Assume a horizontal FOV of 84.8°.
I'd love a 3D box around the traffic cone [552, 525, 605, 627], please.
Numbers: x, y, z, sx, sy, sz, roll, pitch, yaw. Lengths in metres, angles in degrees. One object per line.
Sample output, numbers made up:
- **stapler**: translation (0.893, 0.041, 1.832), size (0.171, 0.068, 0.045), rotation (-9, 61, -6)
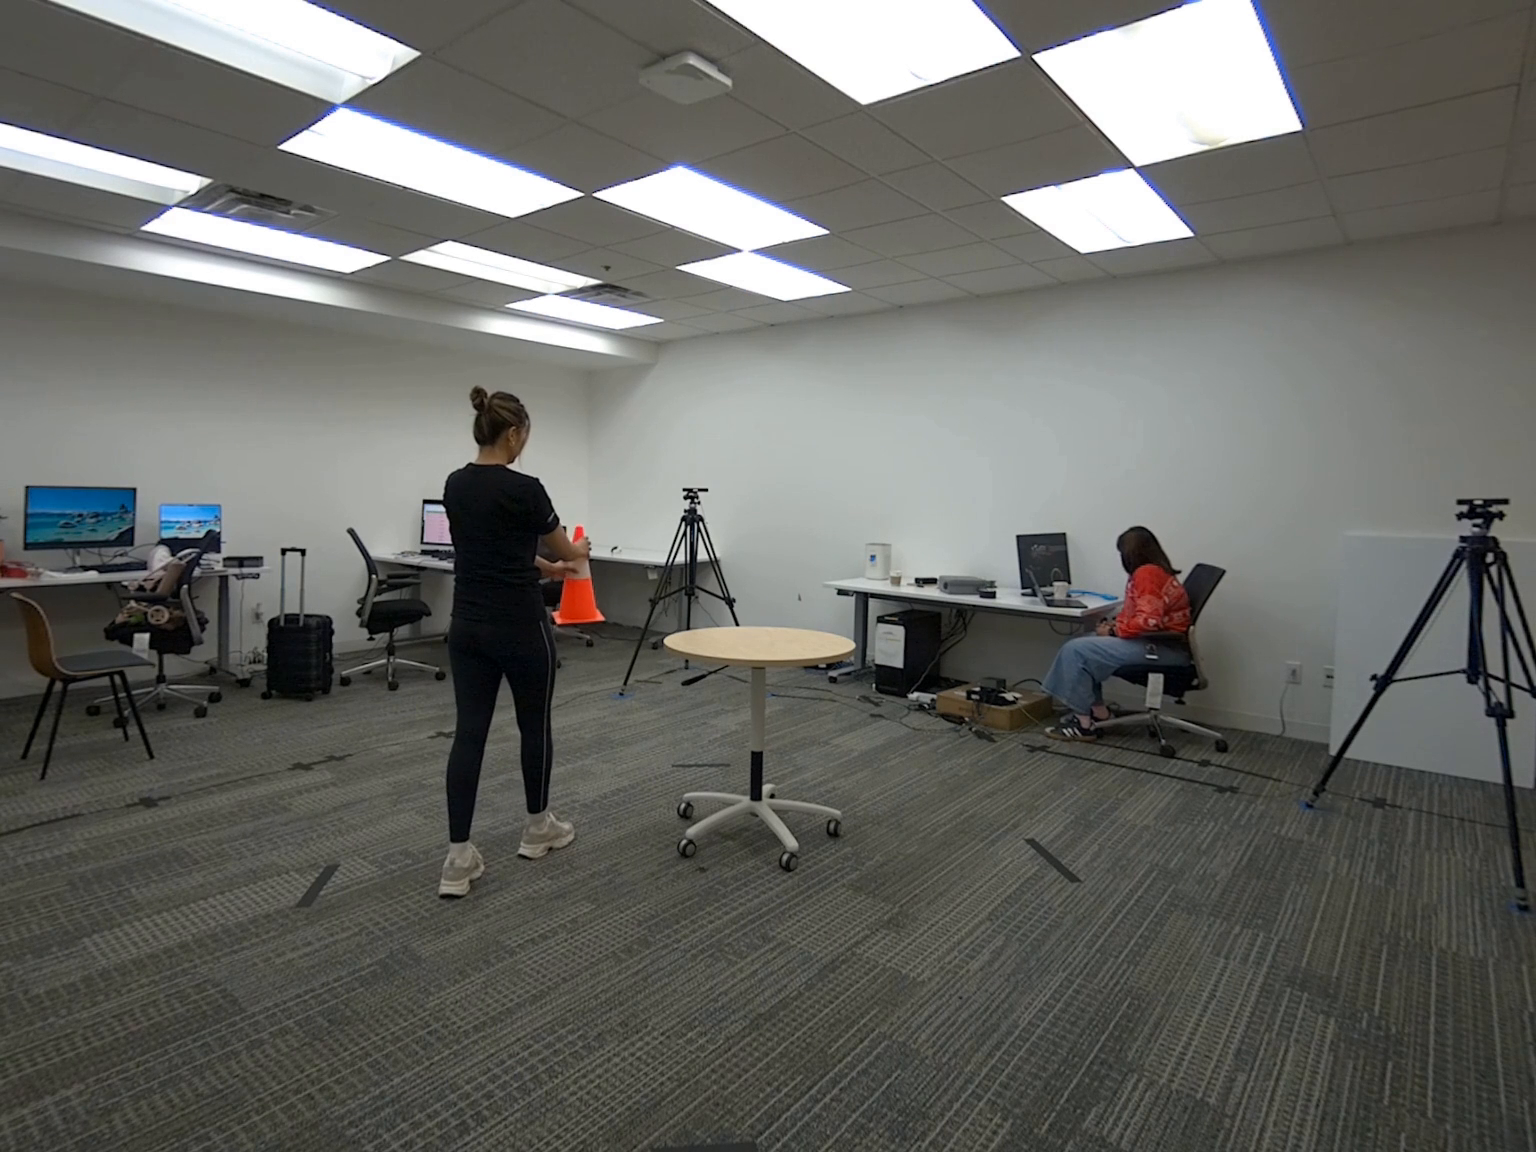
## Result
- **traffic cone**: translation (-0.800, -0.019, 3.506), size (0.211, 0.380, 0.199), rotation (11, 12, 40)
